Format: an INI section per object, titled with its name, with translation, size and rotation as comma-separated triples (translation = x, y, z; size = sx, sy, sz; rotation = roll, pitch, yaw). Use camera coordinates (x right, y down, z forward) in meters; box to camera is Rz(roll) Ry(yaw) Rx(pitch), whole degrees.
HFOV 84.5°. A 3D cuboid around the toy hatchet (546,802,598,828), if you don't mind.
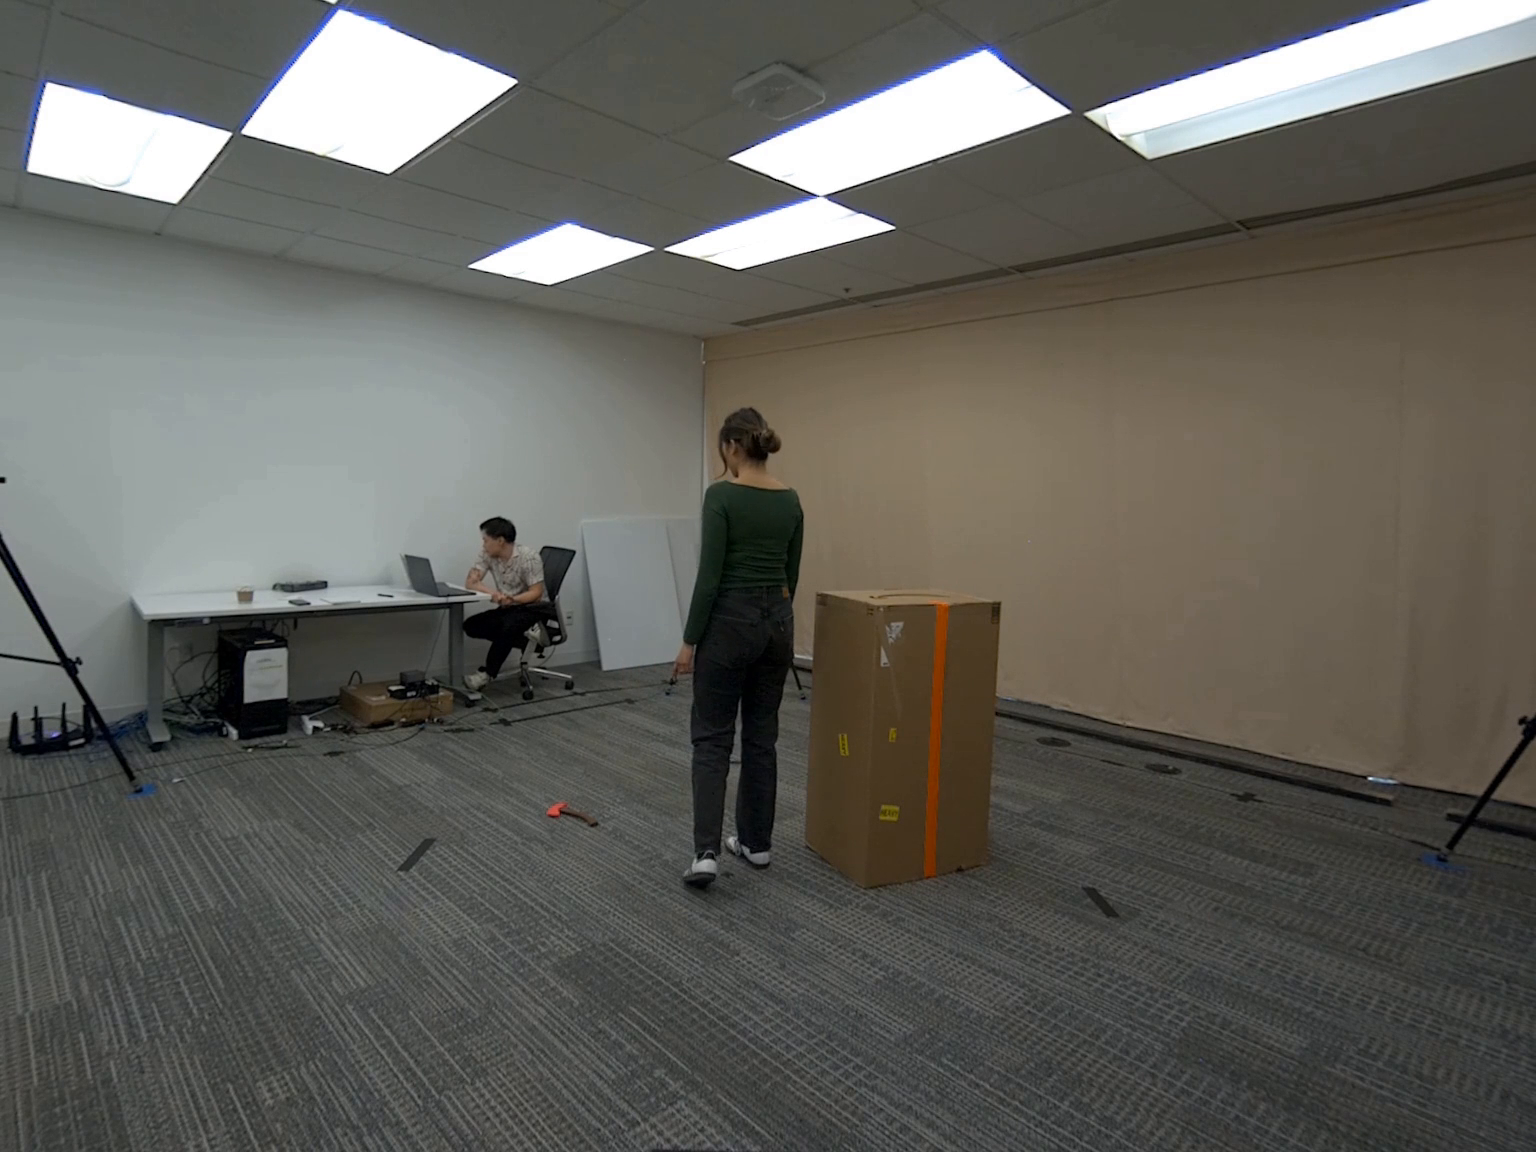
[toy hatchet]
translation = -0.849, 1.023, 3.599
size = 0.128, 0.029, 0.277
rotation = -3, 9, -42
